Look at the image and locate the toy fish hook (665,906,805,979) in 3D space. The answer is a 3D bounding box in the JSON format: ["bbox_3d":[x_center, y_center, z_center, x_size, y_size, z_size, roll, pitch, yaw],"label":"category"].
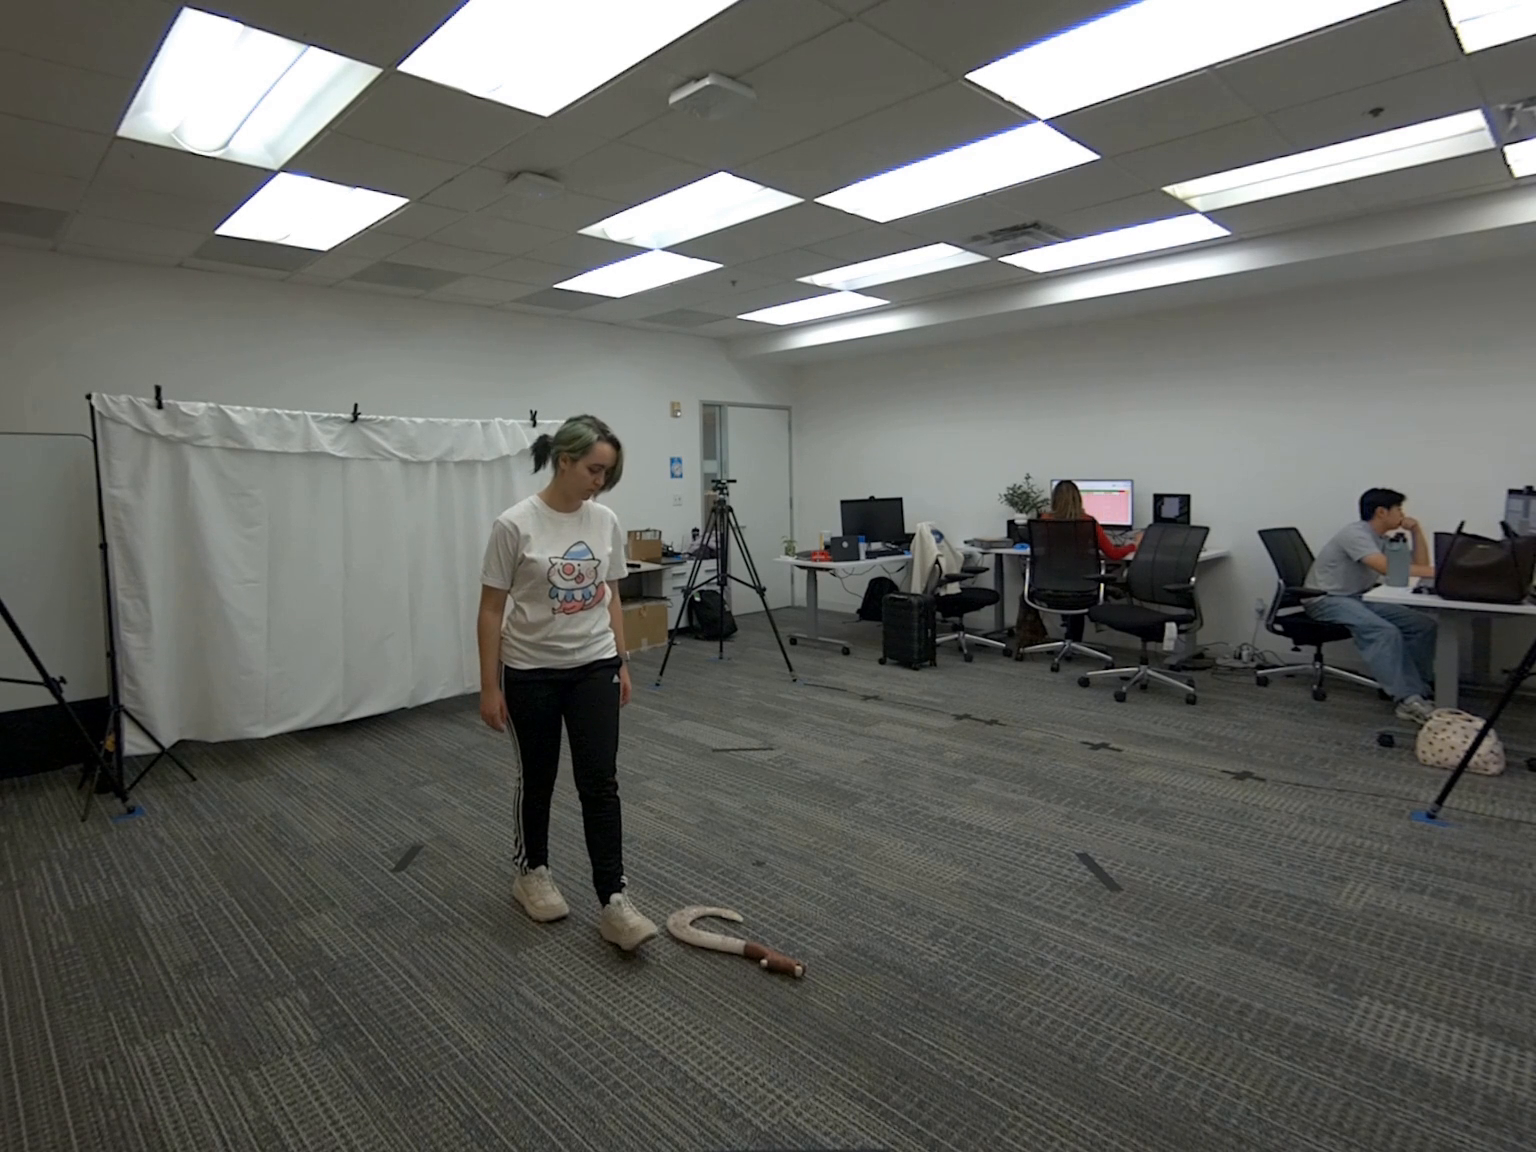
[{"bbox_3d":[-0.081,1.084,2.576,0.521,0.048,0.219,4,10,36],"label":"toy fish hook"}]
